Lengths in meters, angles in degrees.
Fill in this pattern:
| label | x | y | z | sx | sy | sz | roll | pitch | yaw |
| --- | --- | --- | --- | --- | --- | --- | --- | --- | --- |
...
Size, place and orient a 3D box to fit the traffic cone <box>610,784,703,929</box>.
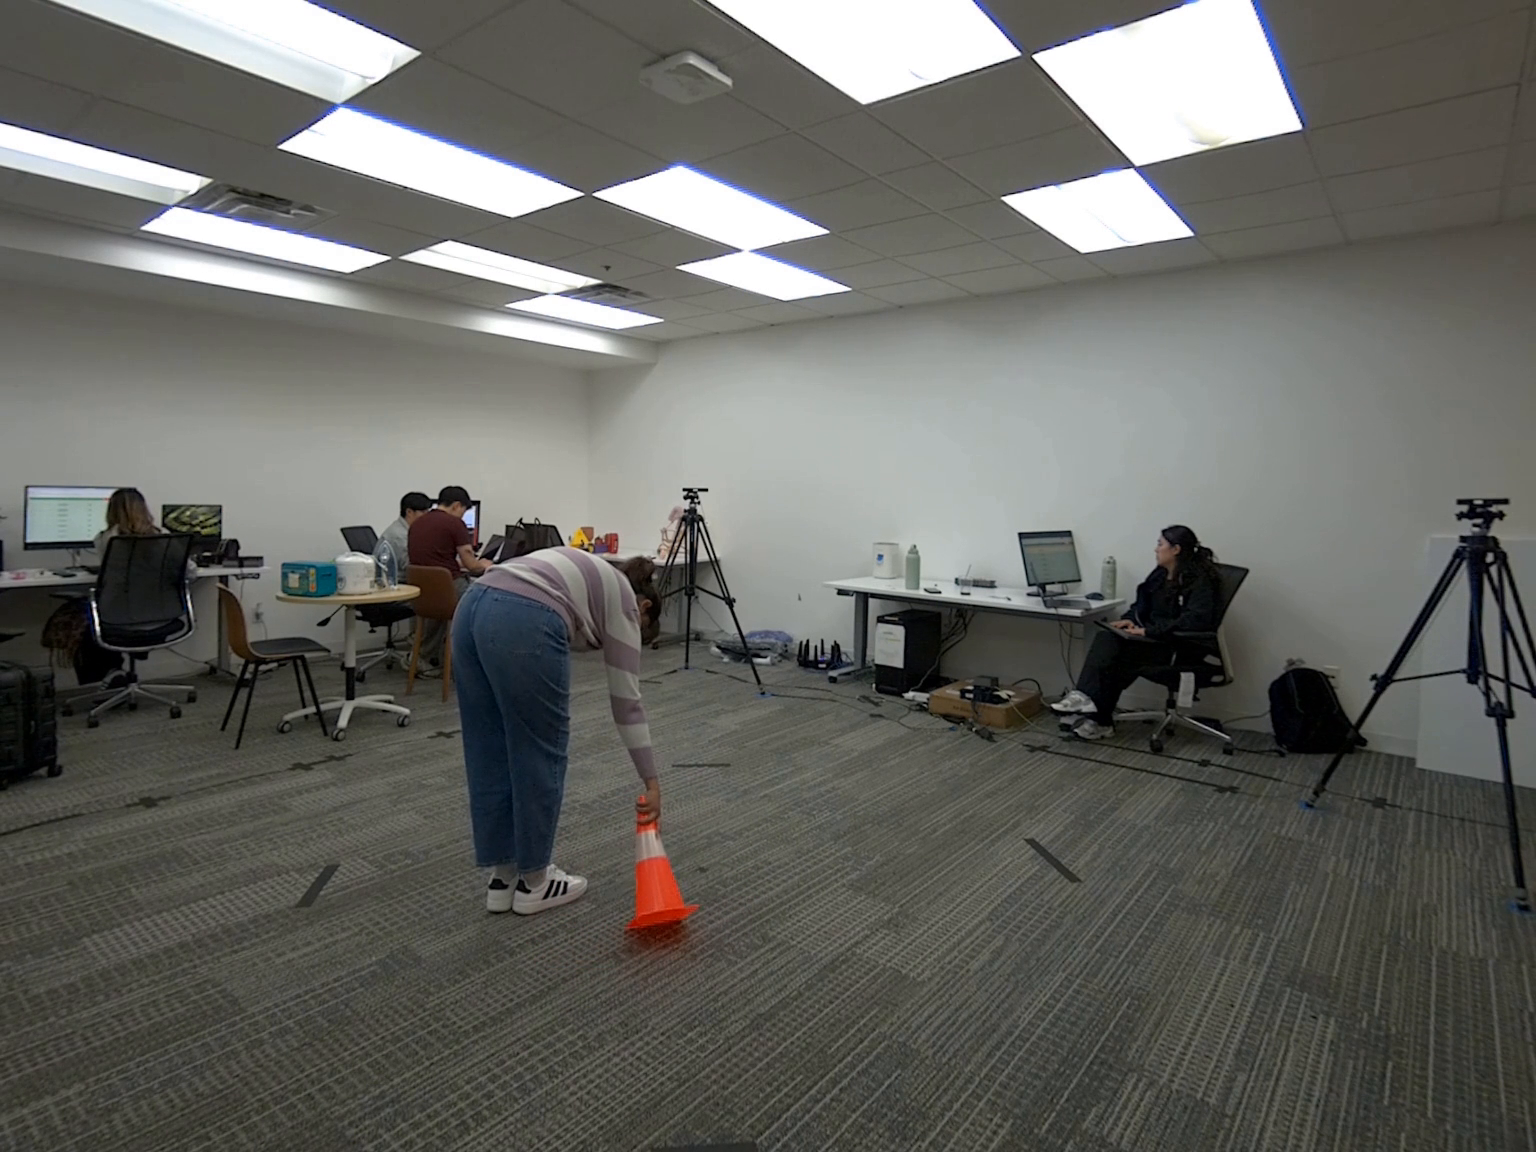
| label | x | y | z | sx | sy | sz | roll | pitch | yaw |
| --- | --- | --- | --- | --- | --- | --- | --- | --- | --- |
| traffic cone | -0.369 | 0.900 | 2.719 | 0.198 | 0.396 | 0.203 | 3 | -34 | -23 |
